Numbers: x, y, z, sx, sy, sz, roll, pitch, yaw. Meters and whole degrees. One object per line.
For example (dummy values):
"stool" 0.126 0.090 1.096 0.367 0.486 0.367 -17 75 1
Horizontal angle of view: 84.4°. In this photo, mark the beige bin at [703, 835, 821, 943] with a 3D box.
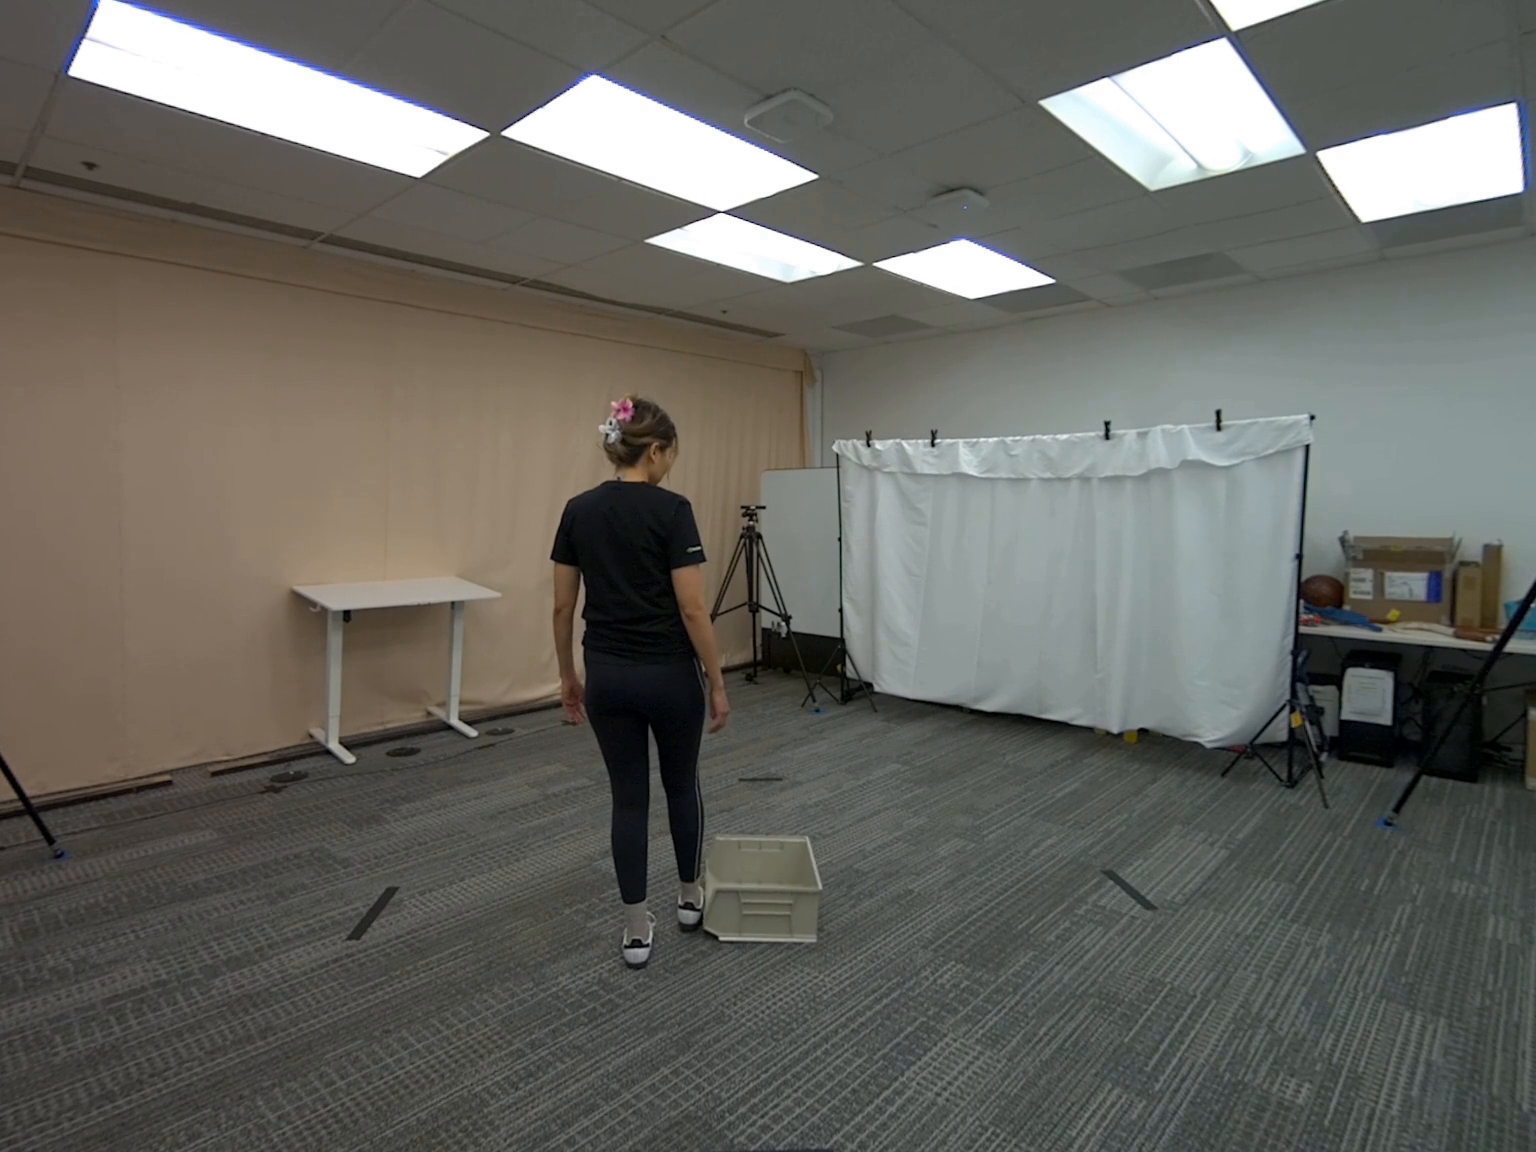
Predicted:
"beige bin" -0.027 1.061 2.878 0.377 0.188 0.424 2 4 -2
